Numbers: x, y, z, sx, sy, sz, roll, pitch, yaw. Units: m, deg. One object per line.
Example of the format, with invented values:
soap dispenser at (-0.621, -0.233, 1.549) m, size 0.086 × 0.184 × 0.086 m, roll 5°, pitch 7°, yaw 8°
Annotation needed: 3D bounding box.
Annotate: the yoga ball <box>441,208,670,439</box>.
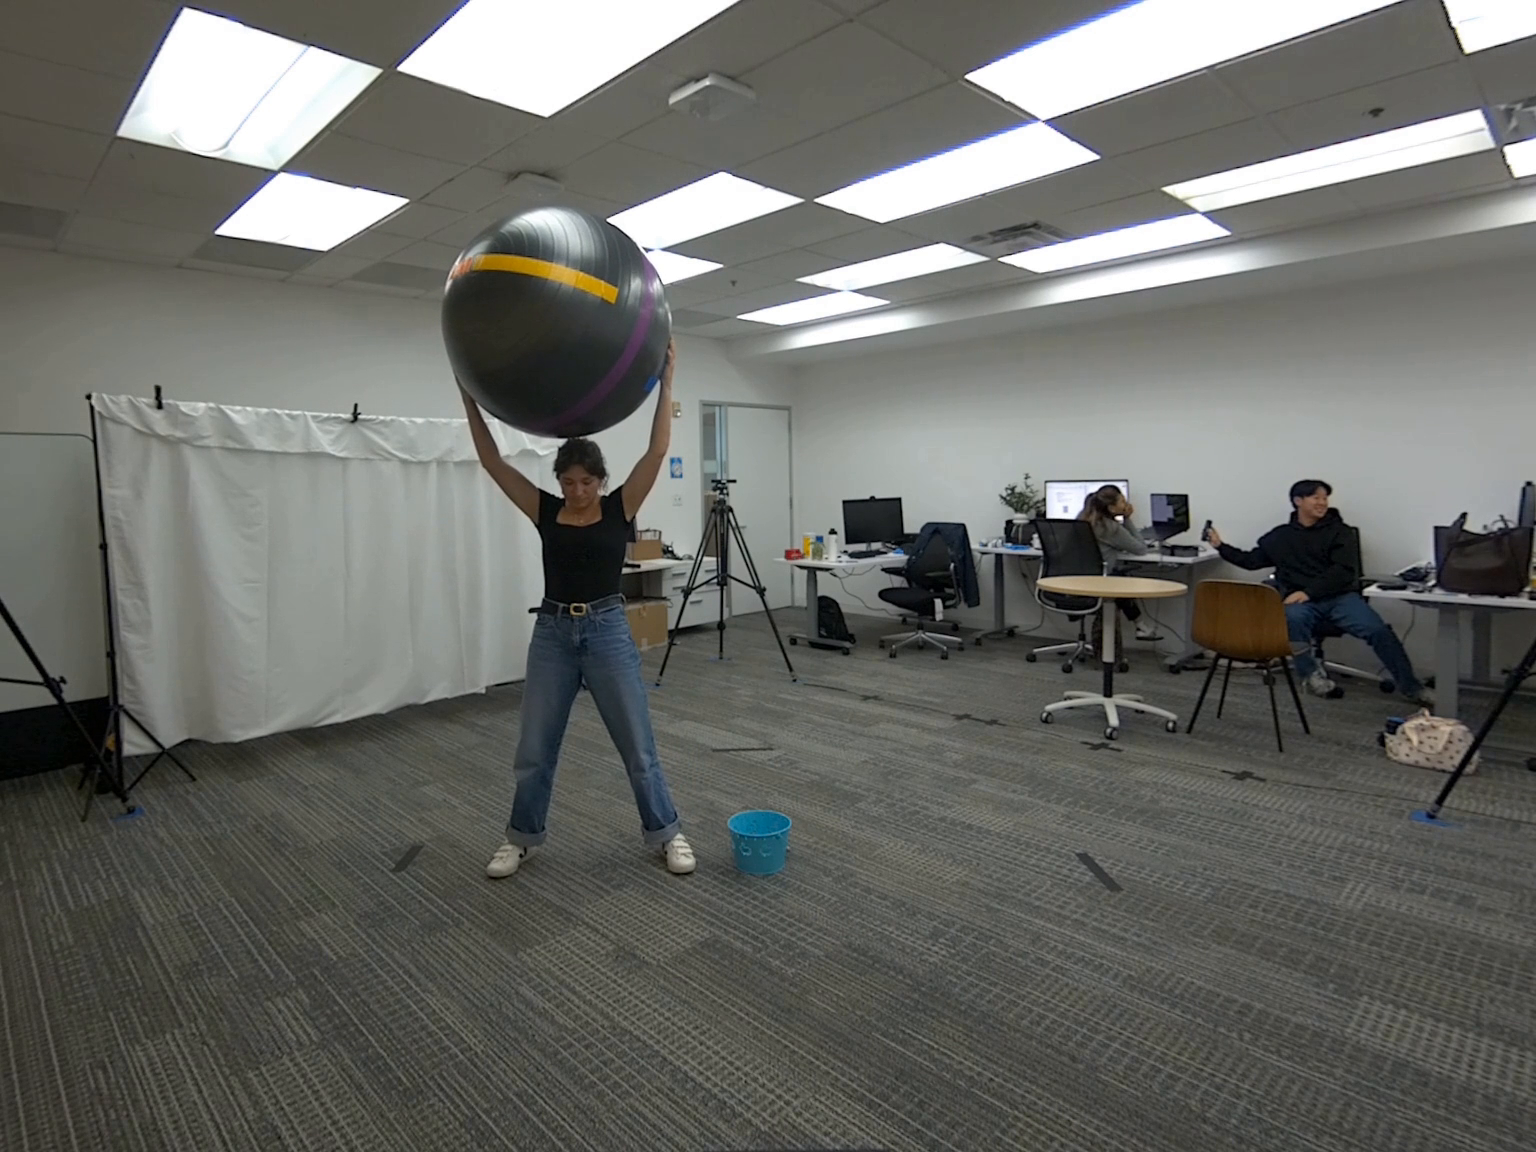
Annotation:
yoga ball at (-0.707, -0.836, 2.876) m, size 0.757 × 0.755 × 0.762 m, roll -1°, pitch 5°, yaw -2°
